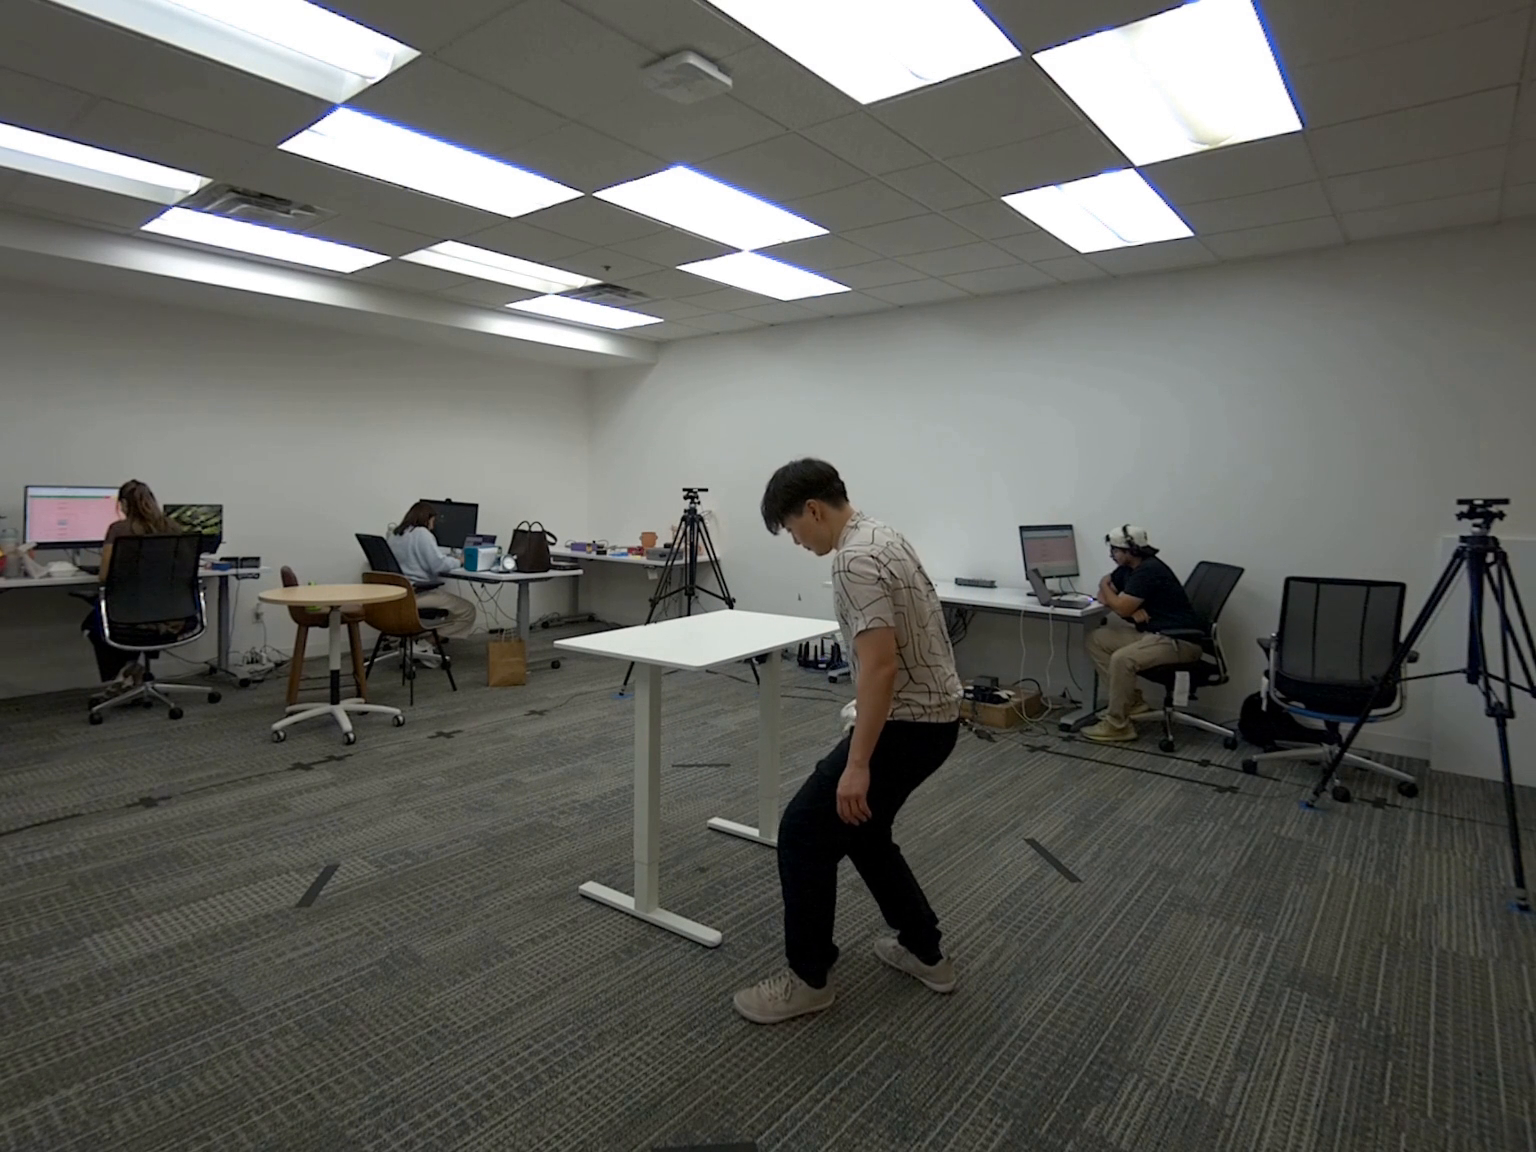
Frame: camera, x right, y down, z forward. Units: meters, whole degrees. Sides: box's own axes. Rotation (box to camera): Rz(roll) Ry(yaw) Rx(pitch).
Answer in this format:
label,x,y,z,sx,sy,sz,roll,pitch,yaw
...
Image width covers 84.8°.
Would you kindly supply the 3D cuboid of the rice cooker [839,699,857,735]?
label,x,y,z,sx,sy,sz,roll,pitch,yaw
rice cooker,0.341,0.509,2.785,0.220,0.231,0.219,-1,7,-2
